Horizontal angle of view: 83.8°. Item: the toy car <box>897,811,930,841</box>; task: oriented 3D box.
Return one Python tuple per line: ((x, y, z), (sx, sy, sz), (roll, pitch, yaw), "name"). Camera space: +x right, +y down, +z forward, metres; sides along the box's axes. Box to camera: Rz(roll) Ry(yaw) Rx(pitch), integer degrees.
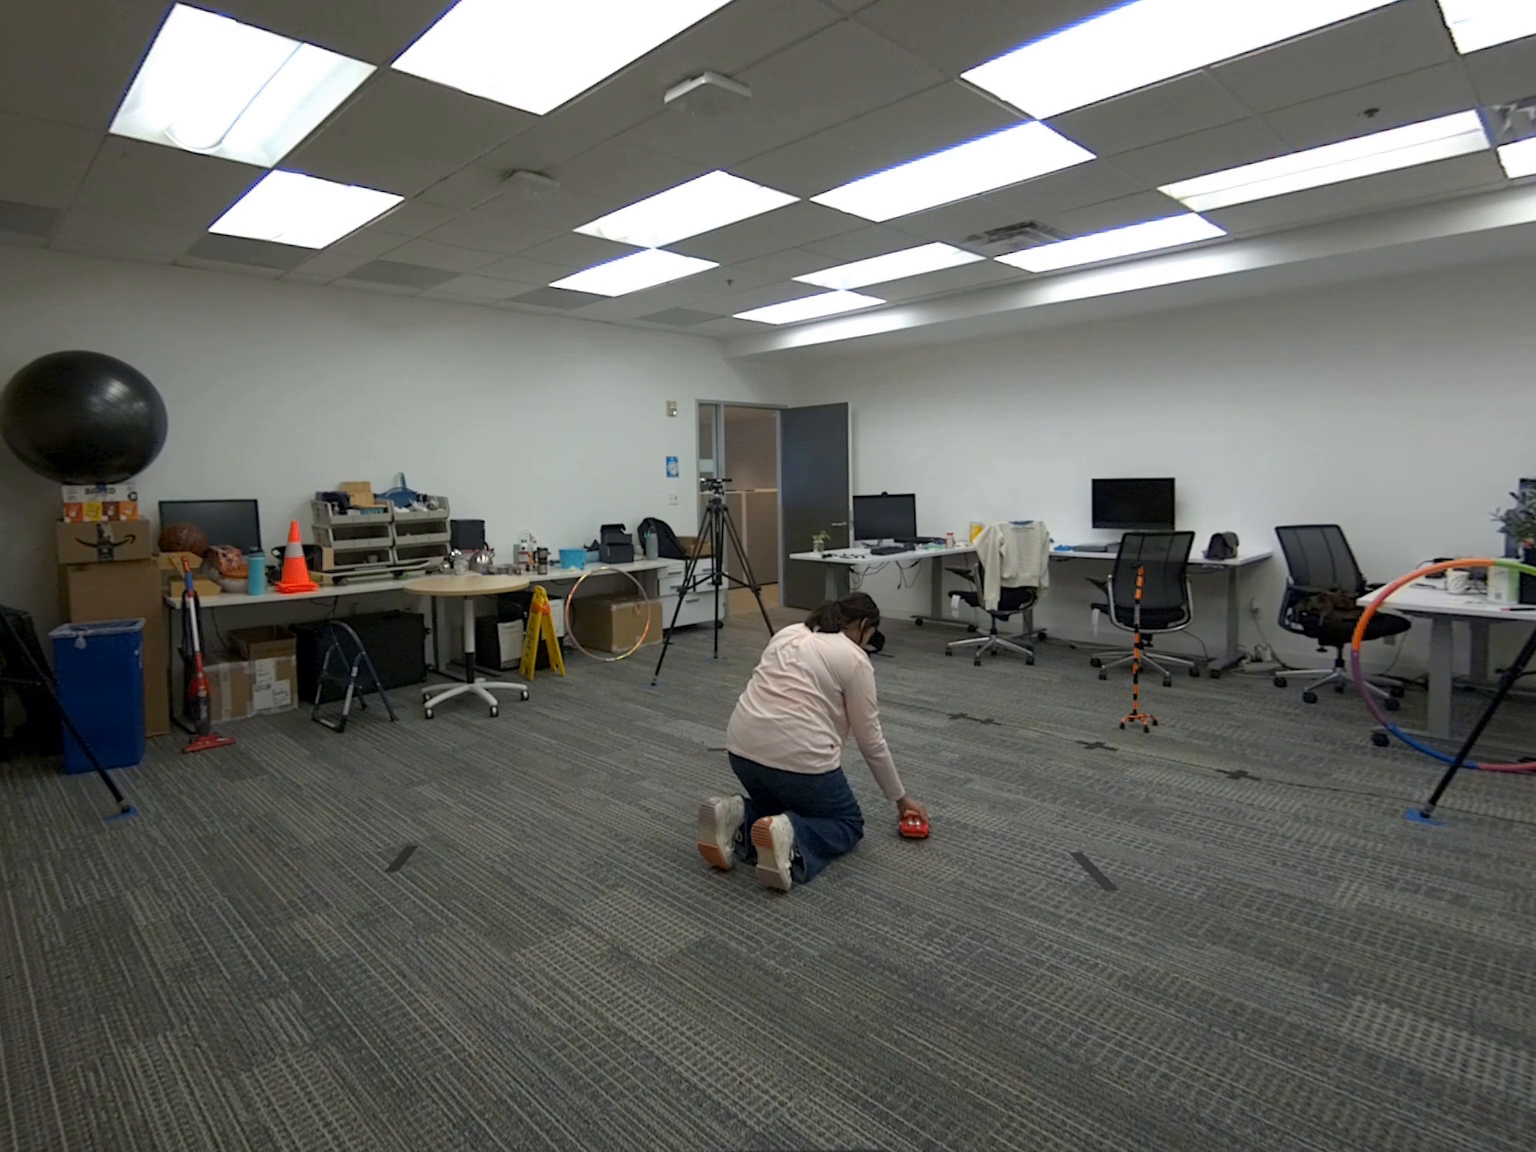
((0.569, 0.966, 3.360), (0.132, 0.084, 0.250), (0, -5, 11), "toy car")
